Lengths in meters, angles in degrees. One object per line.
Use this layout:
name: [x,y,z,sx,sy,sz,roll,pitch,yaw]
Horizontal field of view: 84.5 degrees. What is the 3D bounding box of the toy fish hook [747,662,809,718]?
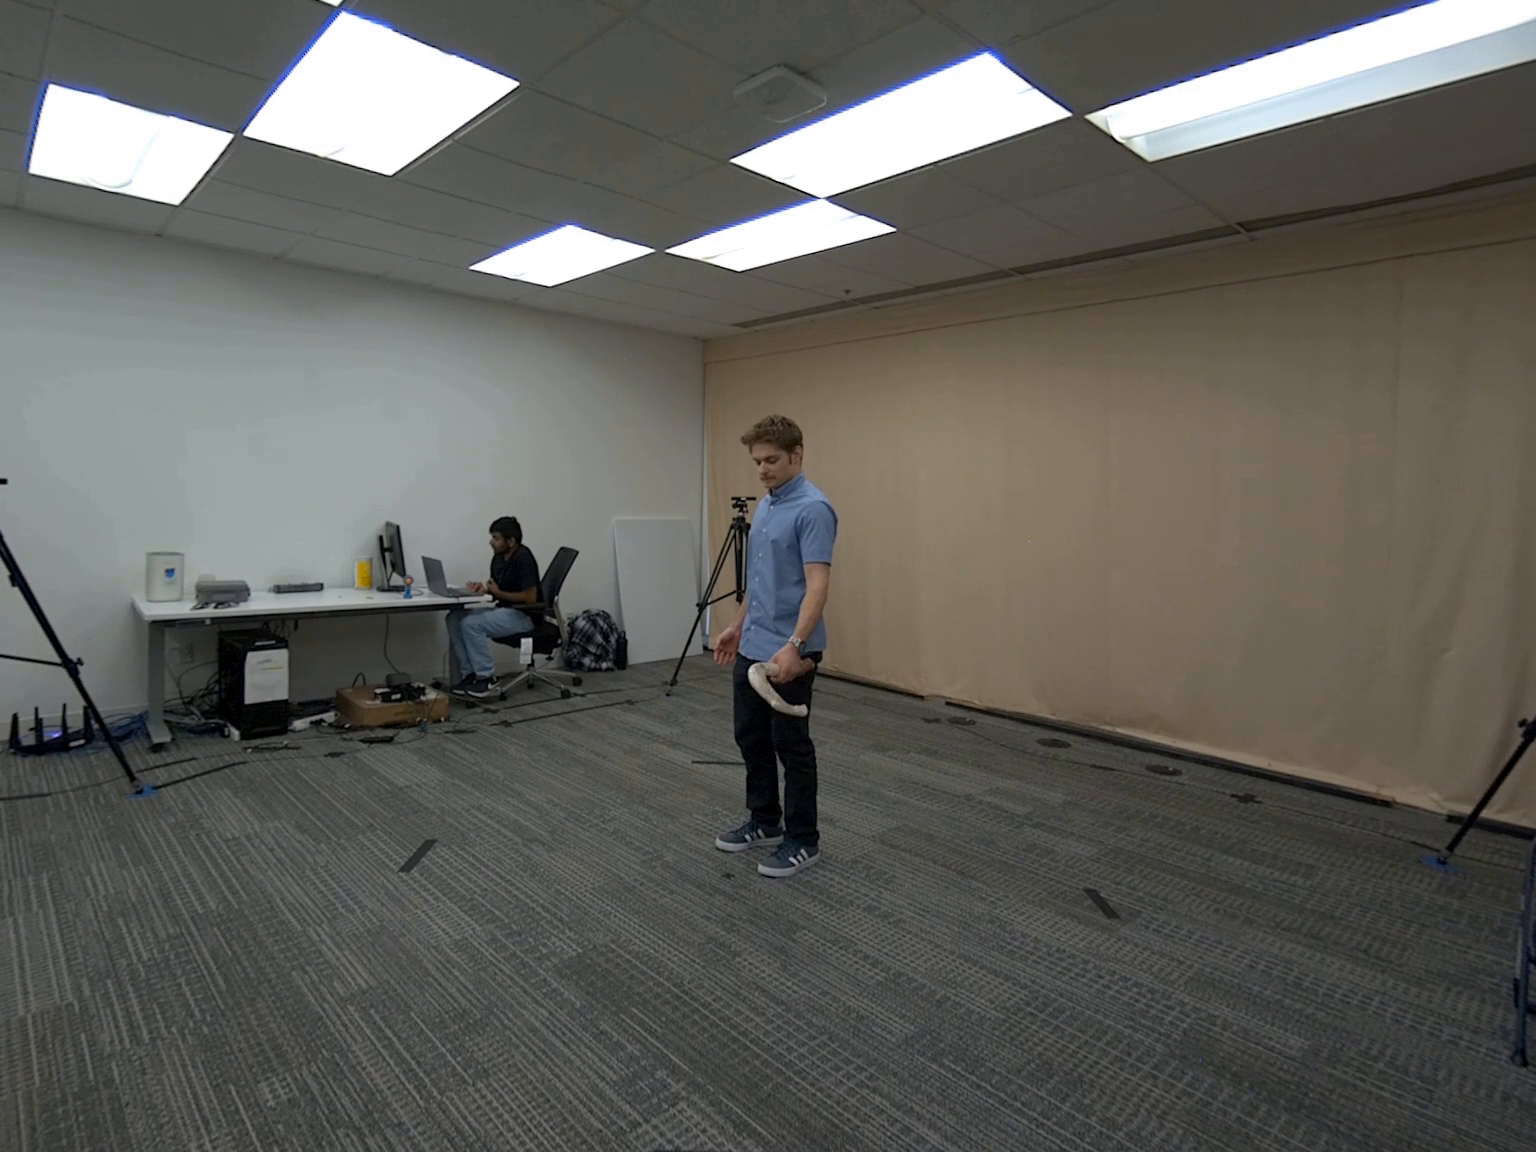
toy fish hook: [0.074,0.361,2.806,0.228,0.048,0.498,48,18,15]
